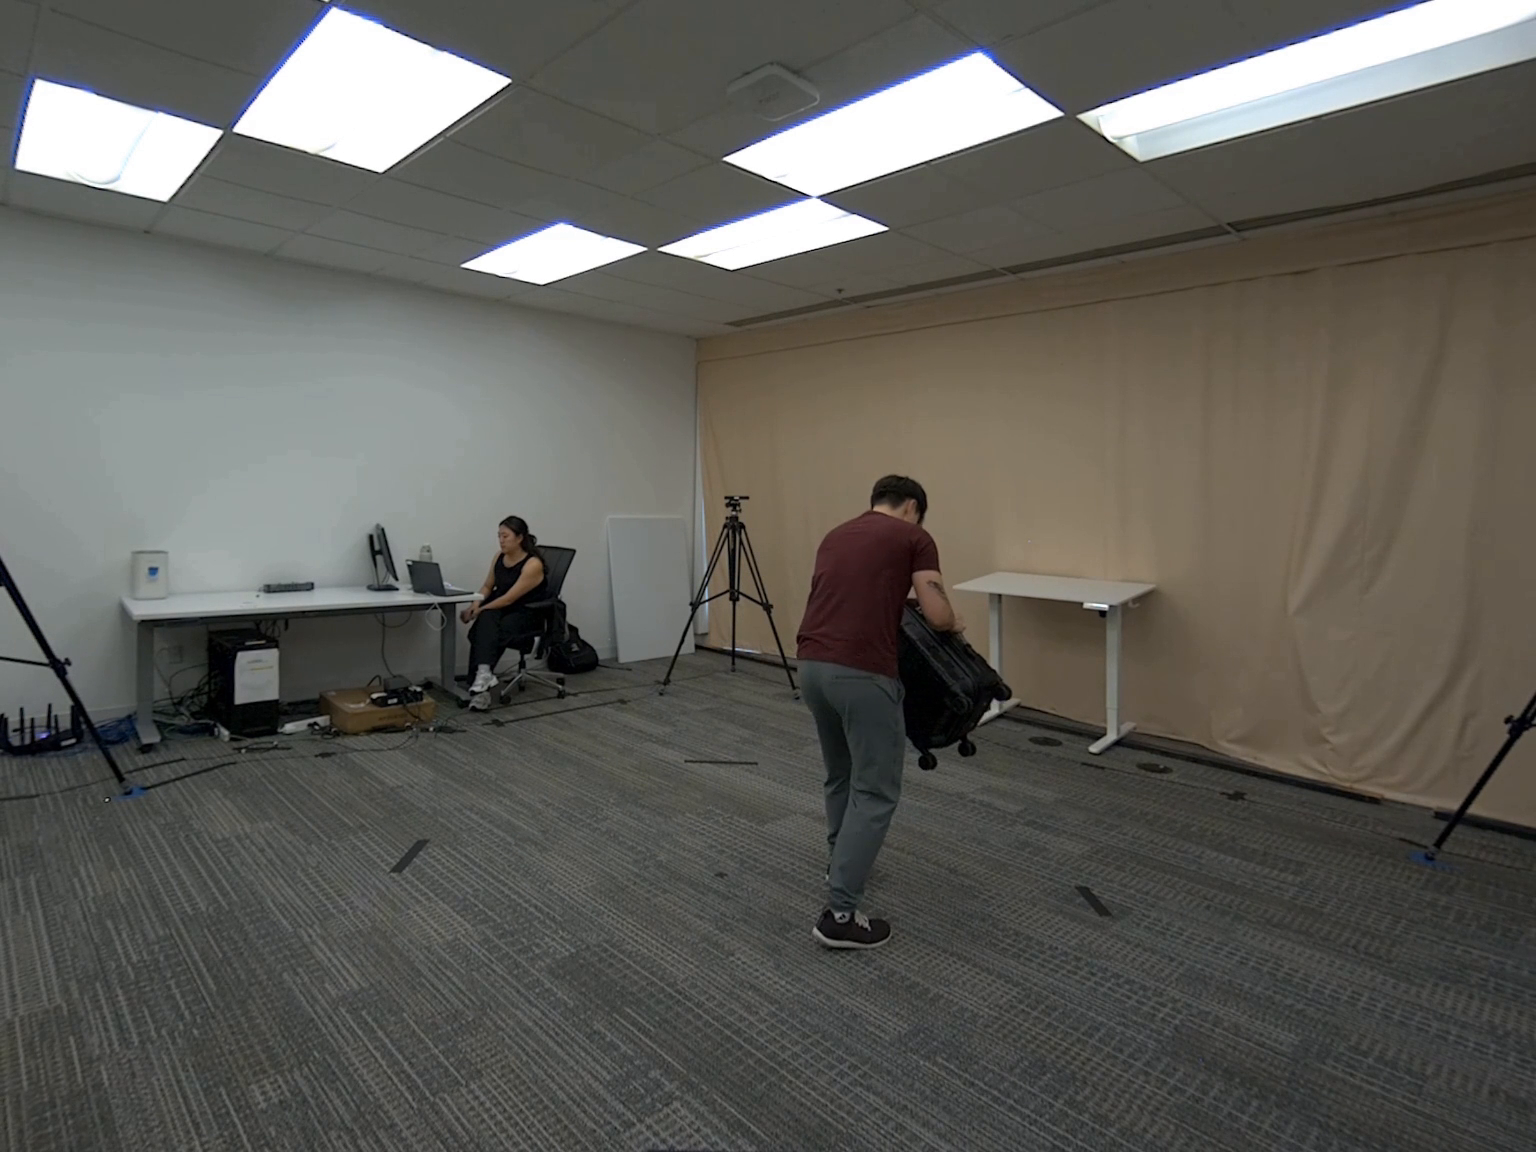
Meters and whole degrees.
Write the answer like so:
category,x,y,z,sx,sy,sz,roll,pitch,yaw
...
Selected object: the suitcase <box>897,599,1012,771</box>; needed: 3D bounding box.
category,x,y,z,sx,sy,sz,roll,pitch,yaw
suitcase,0.466,0.232,3.241,0.252,0.379,1.009,-9,45,-33
